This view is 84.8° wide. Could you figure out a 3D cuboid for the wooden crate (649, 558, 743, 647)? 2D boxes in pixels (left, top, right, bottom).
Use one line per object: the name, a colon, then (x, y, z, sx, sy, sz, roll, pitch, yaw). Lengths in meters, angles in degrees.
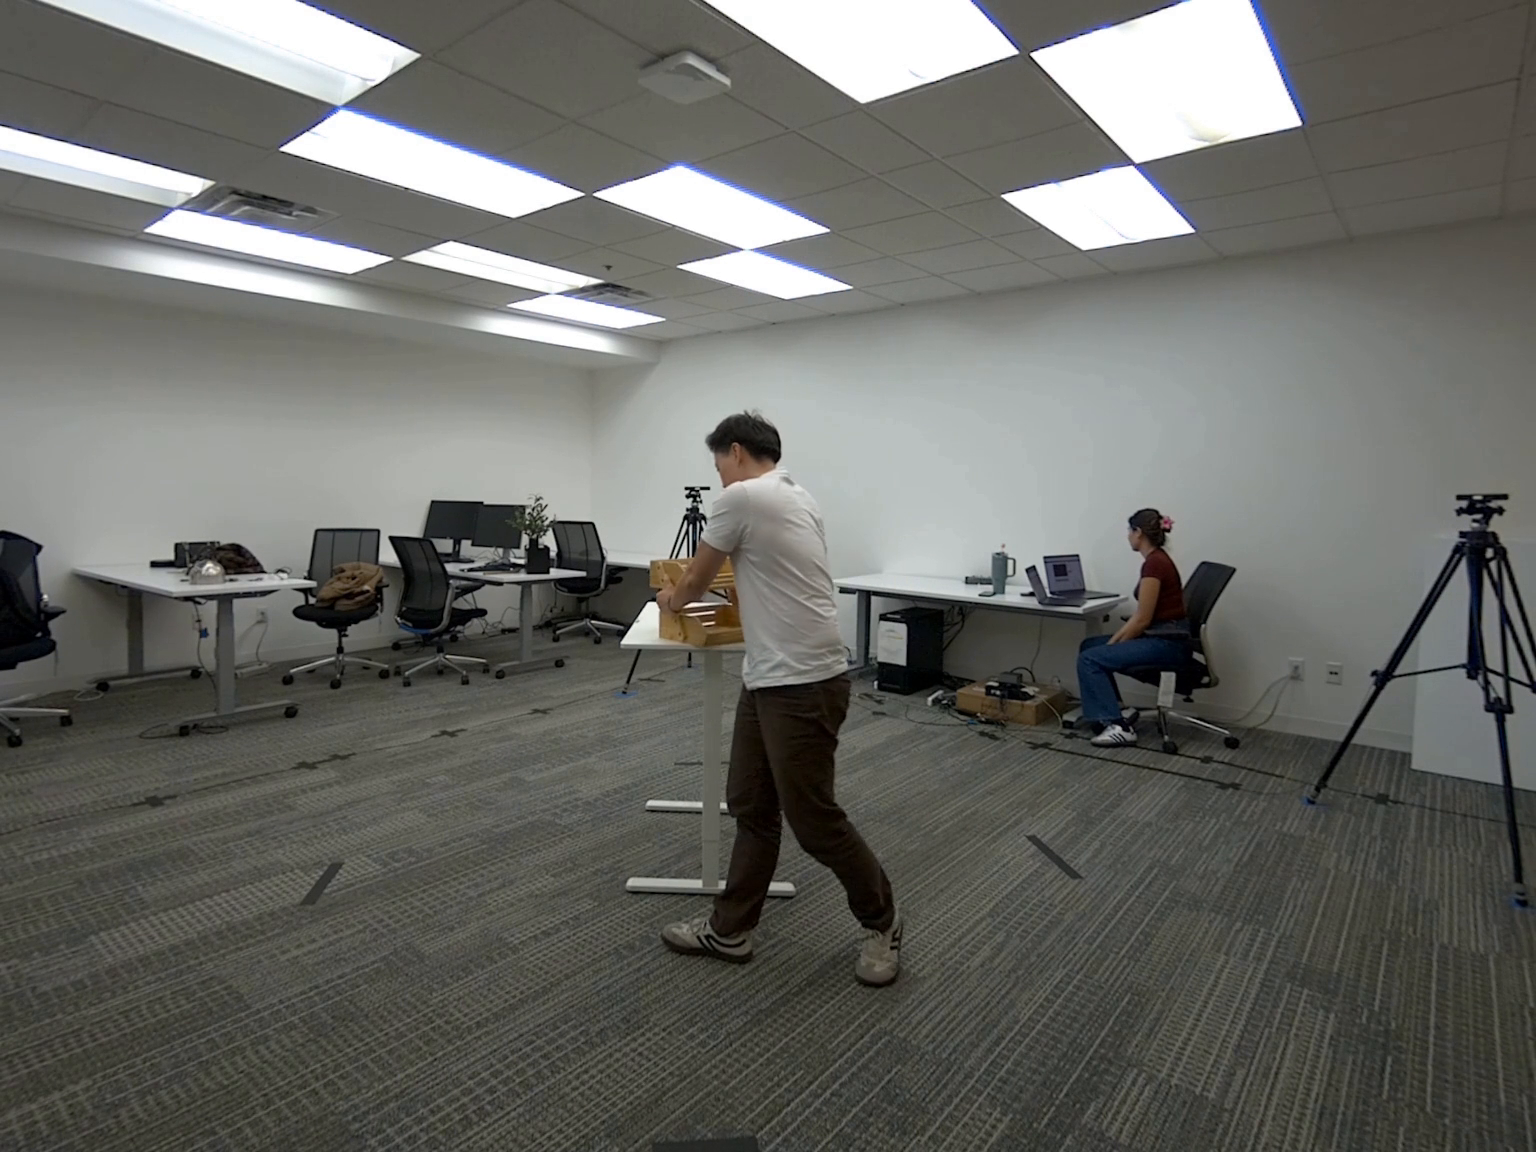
wooden crate: (-0.203, 0.073, 2.907, 0.314, 0.273, 0.312, -2, 5, -44)
